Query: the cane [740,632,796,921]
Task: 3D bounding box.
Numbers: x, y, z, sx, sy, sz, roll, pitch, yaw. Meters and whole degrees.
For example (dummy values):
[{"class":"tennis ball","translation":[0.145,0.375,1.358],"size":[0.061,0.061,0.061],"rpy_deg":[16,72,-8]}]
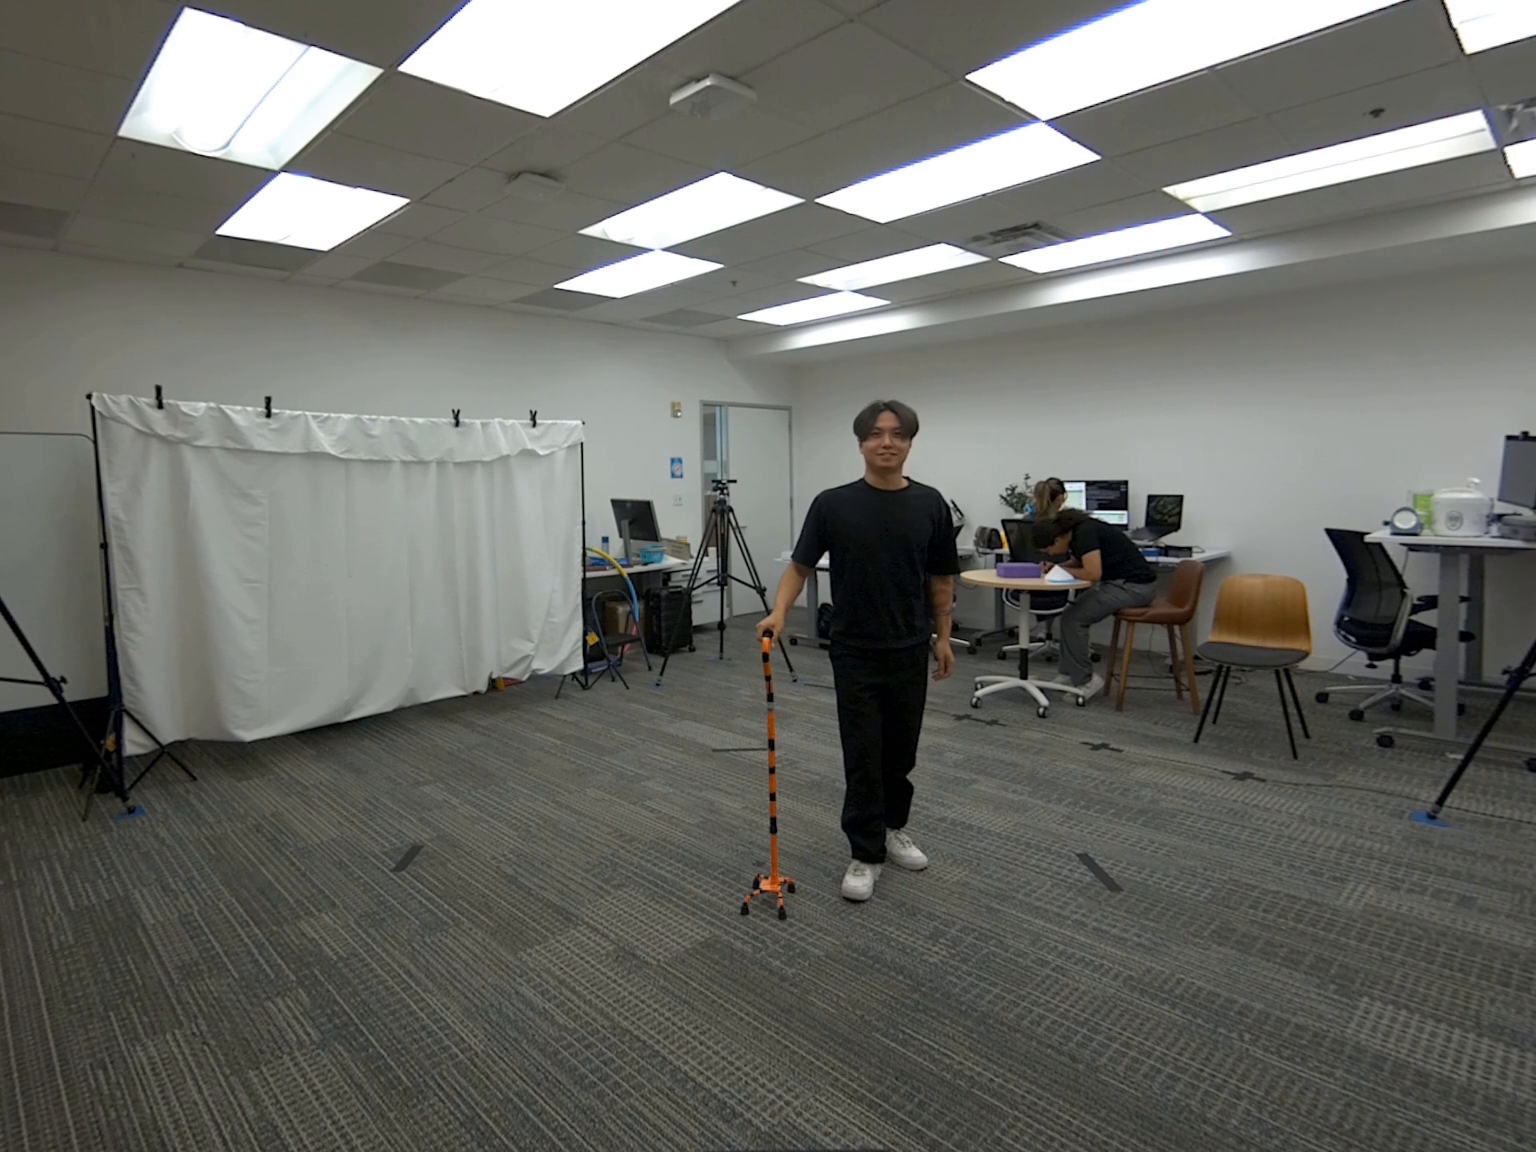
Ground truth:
[{"class":"cane","translation":[-0.004,0.631,2.792],"size":[0.153,0.904,0.205],"rpy_deg":[0,4,11]}]
